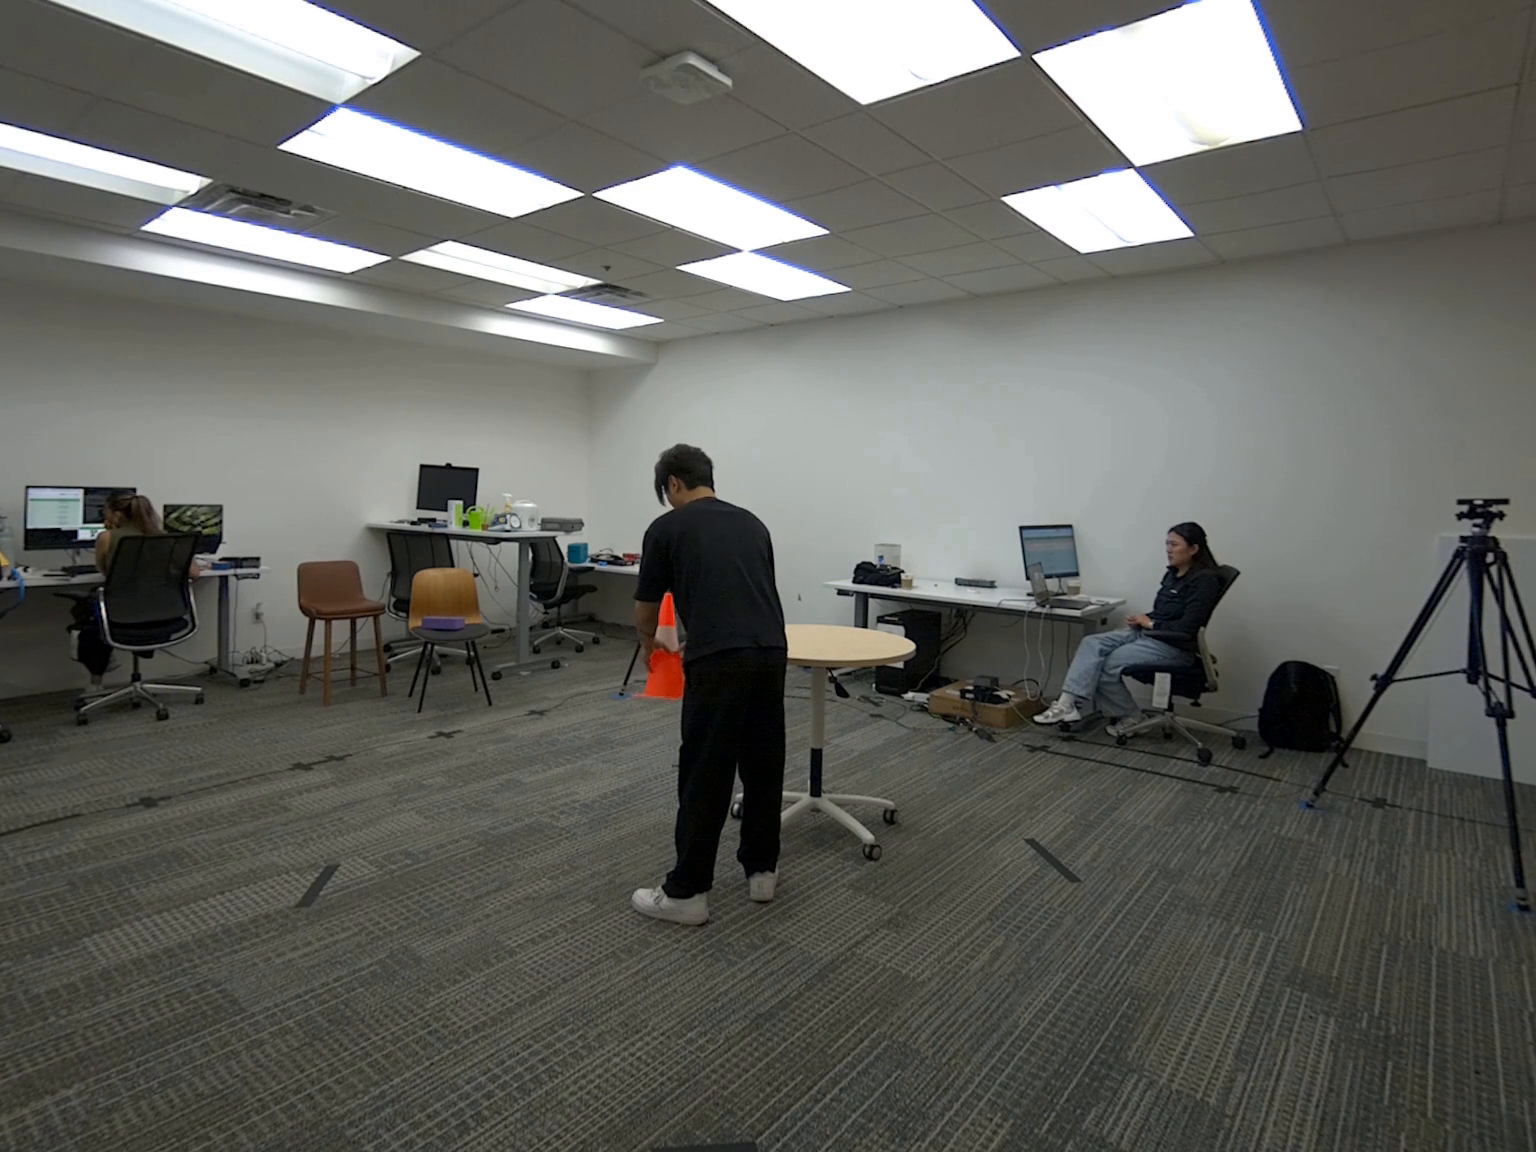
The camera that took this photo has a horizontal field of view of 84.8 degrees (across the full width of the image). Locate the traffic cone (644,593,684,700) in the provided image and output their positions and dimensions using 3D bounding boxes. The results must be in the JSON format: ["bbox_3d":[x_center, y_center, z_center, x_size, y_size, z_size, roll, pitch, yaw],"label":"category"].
[{"bbox_3d":[-0.391,0.251,3.202,0.211,0.384,0.197,0,0,34],"label":"traffic cone"}]
